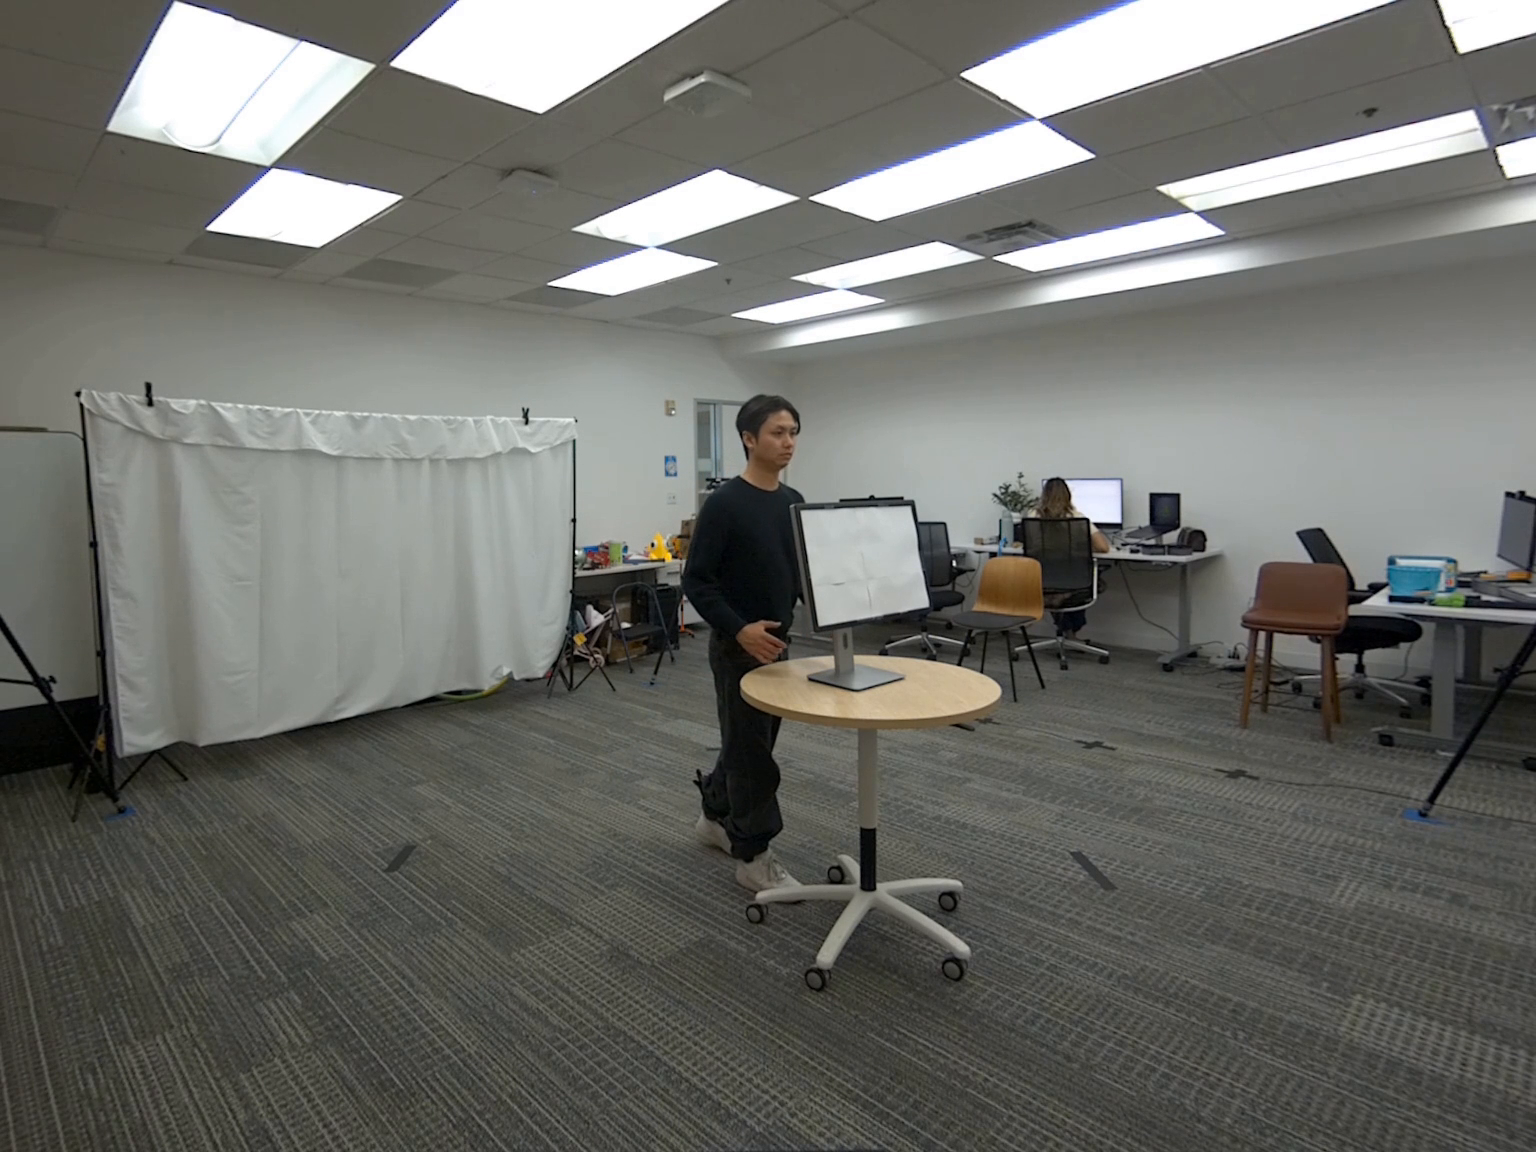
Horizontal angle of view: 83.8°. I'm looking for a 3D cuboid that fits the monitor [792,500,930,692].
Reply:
[{"bbox_3d":[0.271,0.046,2.588,0.180,0.513,0.515,10,9,44],"label":"monitor"}]
